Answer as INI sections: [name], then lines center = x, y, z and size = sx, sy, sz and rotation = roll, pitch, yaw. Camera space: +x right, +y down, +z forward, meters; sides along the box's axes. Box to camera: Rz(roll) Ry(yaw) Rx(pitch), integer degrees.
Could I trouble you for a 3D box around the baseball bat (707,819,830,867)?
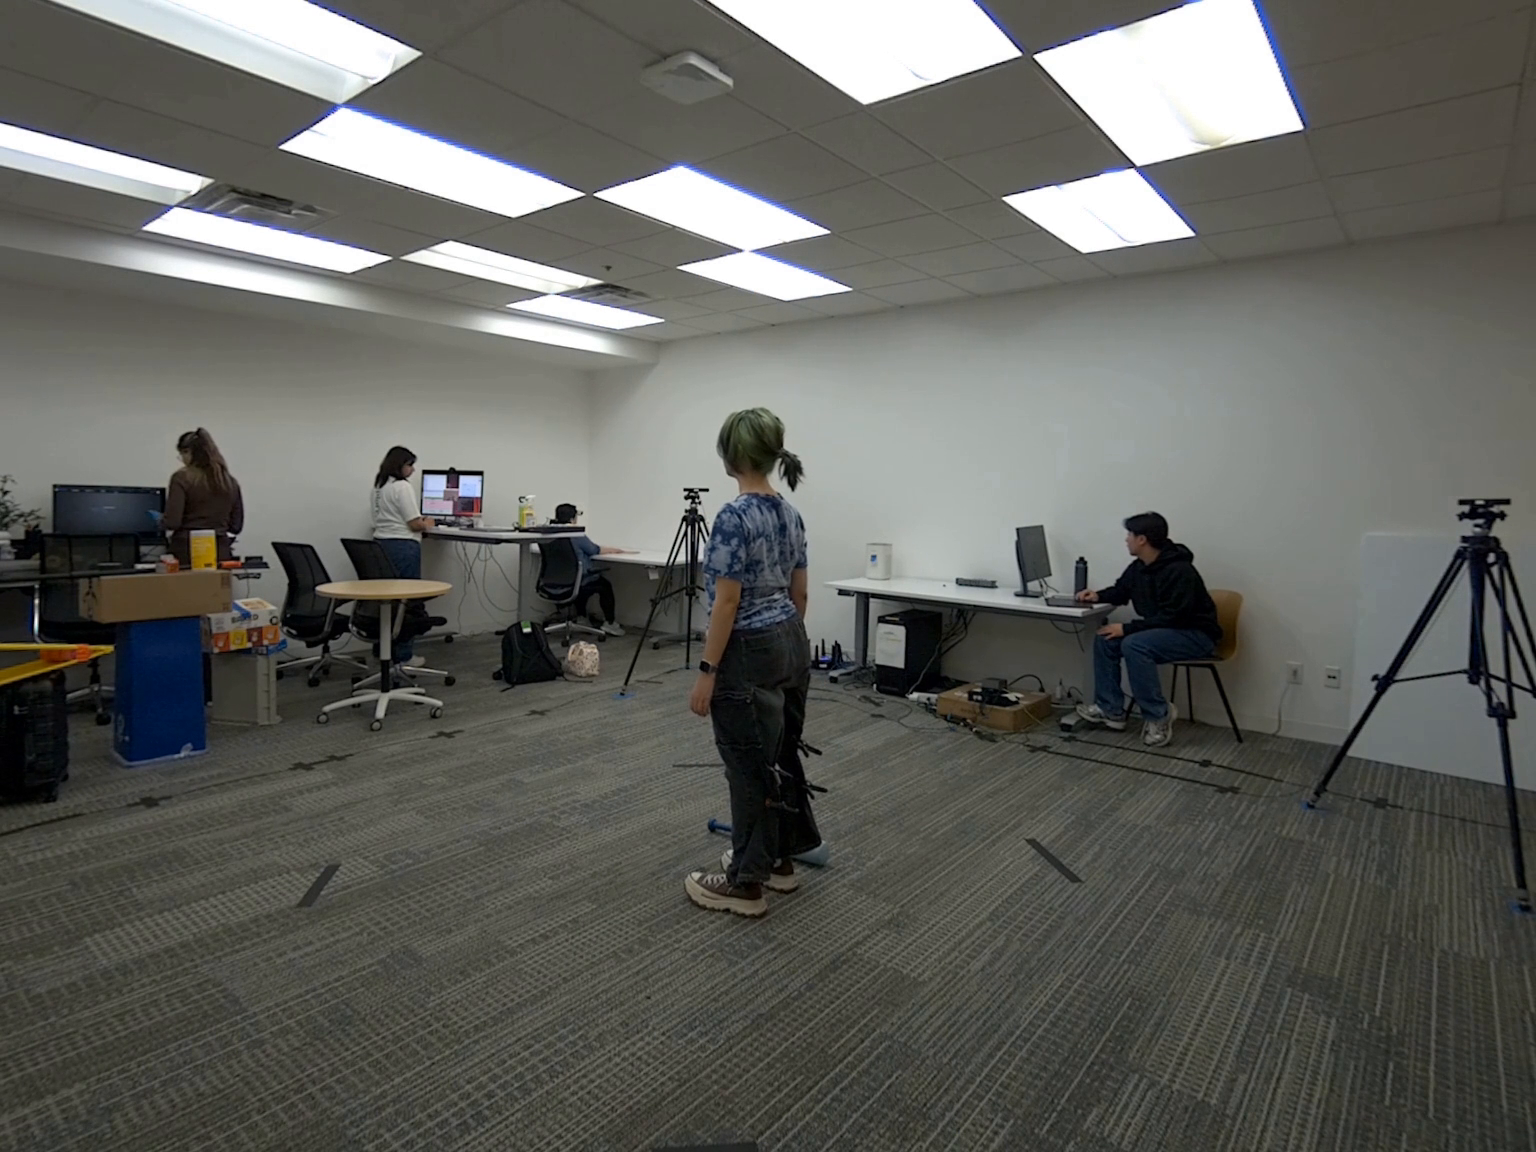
[baseball bat]
center = -0.019, 1.017, 3.303
size = 0.560, 0.089, 0.086
rotation = 1, 3, 36
